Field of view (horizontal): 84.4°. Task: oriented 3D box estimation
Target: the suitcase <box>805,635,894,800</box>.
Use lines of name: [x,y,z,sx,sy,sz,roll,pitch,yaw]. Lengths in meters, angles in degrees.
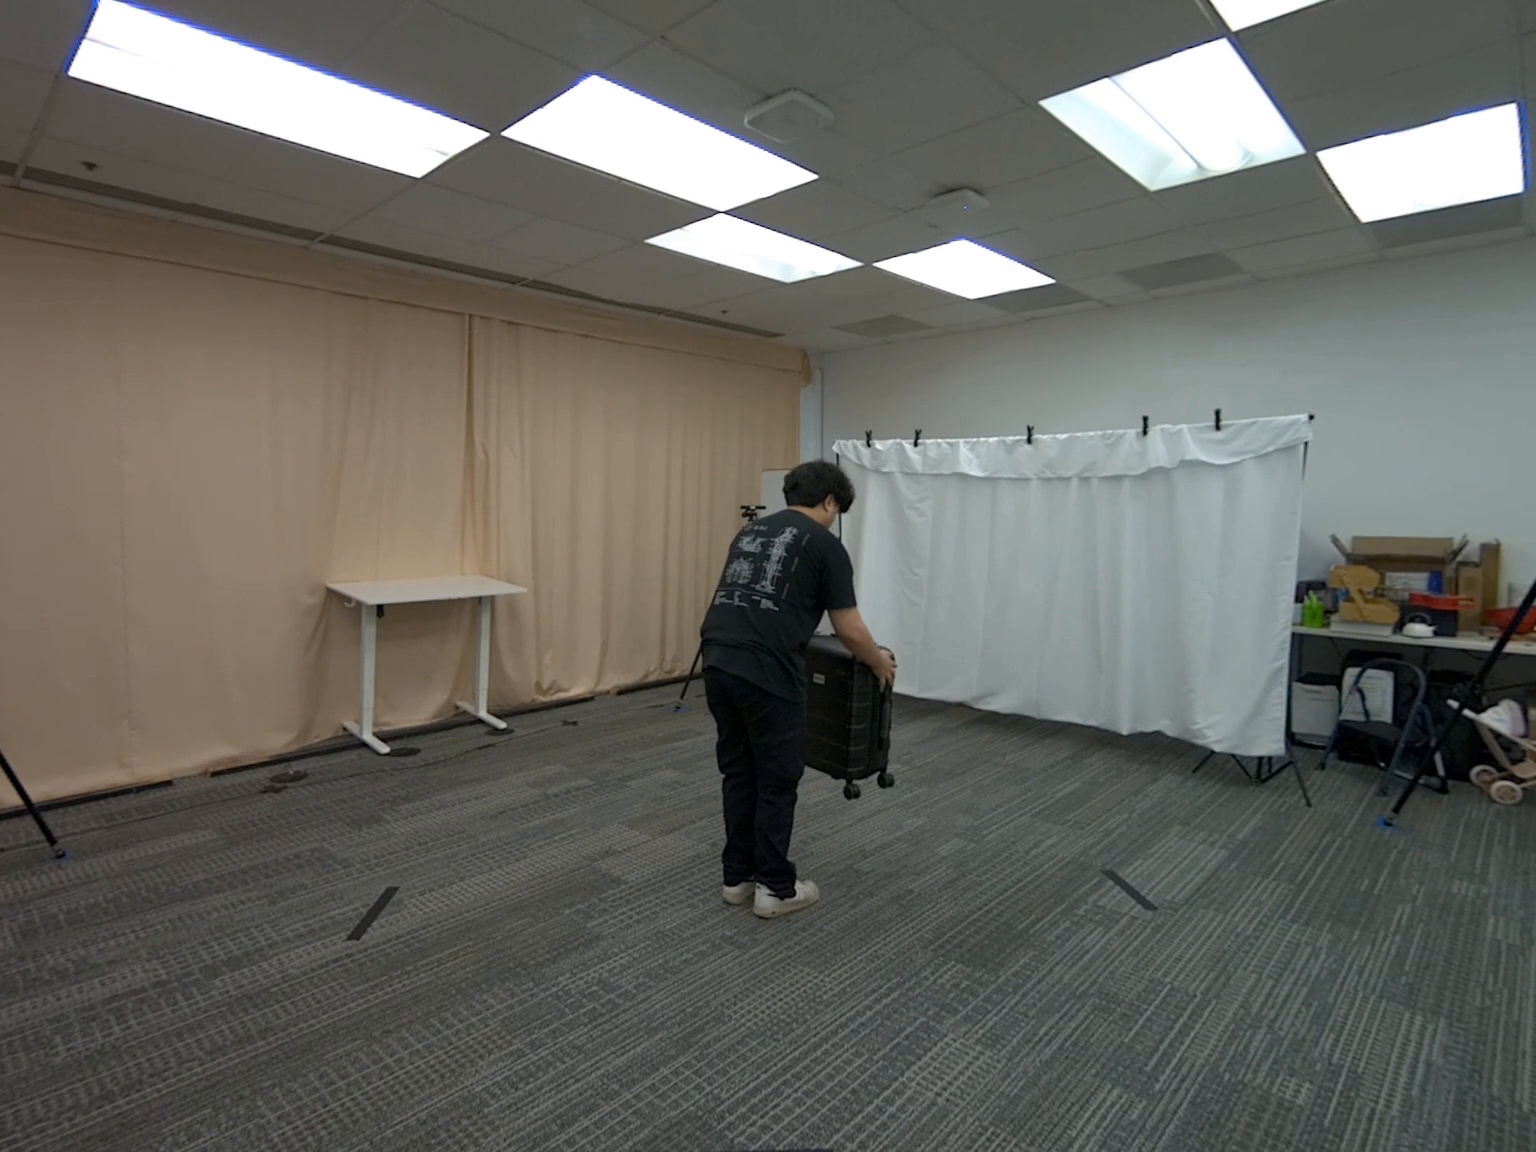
suitcase: [0.288,0.512,3.239,0.240,0.548,0.388,-1,6,-43]
